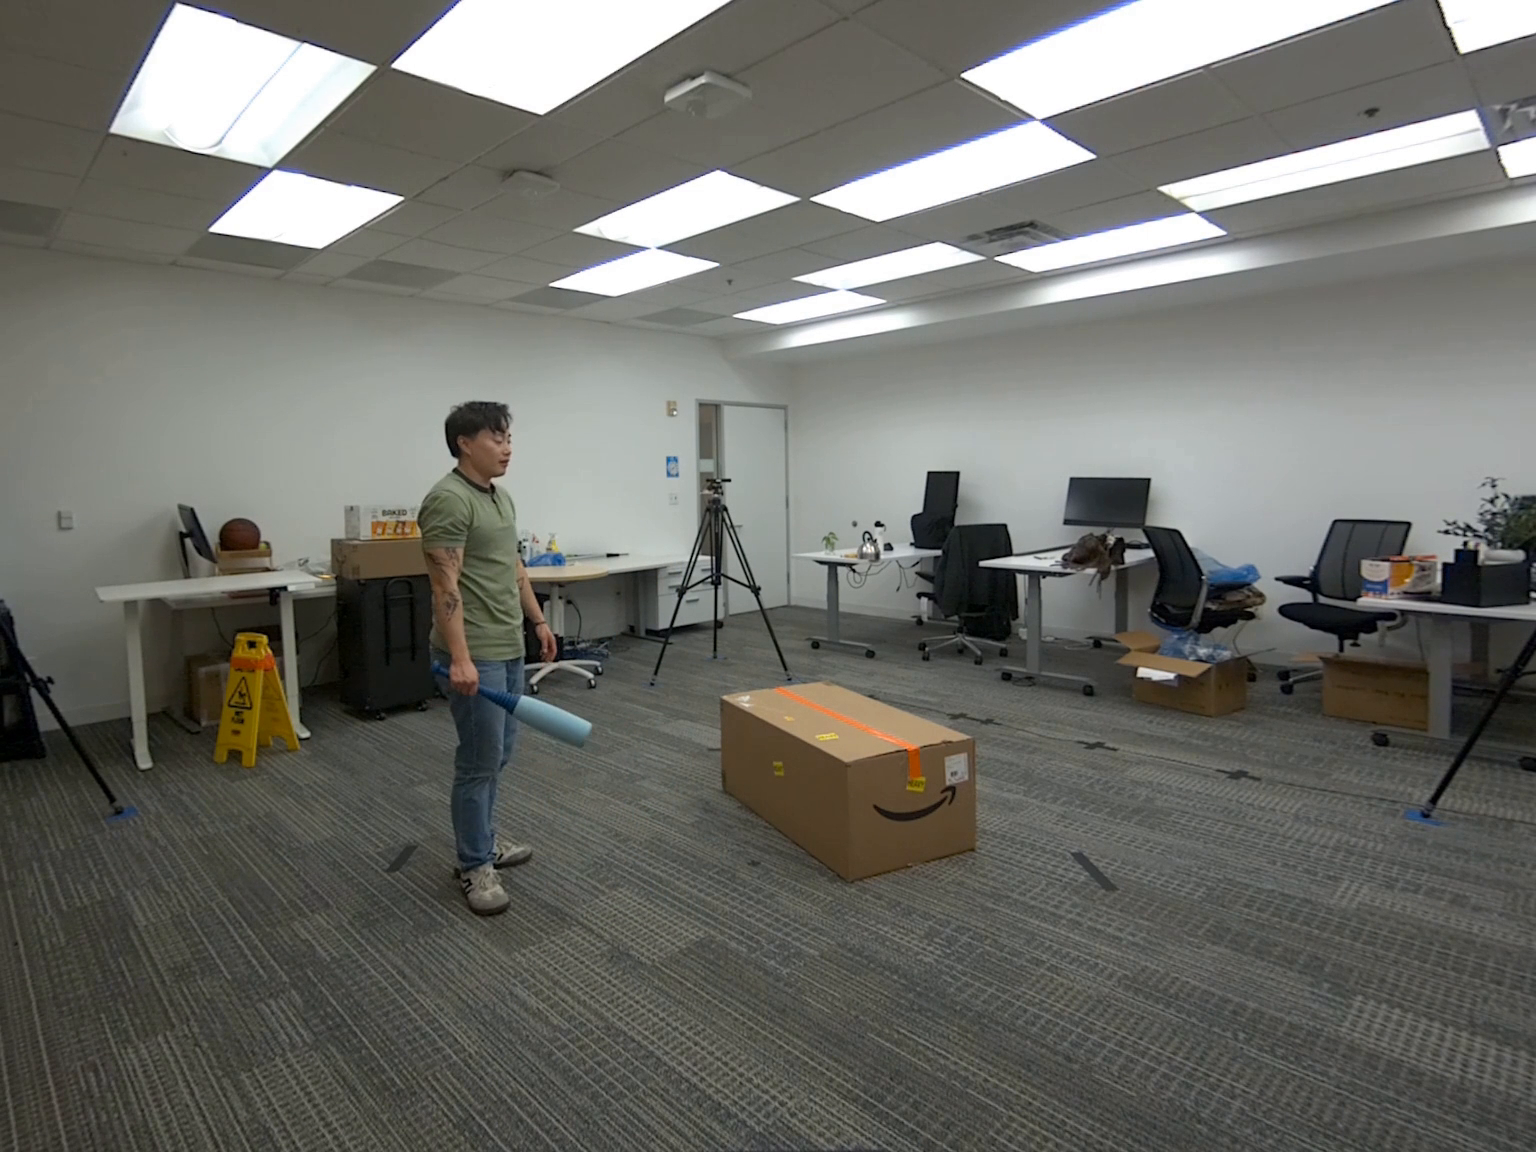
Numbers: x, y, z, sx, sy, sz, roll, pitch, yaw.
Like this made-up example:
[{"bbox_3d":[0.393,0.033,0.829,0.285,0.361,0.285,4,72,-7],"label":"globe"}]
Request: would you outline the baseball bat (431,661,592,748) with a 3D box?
[{"bbox_3d":[-0.824,0.407,2.714,0.539,0.089,0.090,25,2,-5],"label":"baseball bat"}]
